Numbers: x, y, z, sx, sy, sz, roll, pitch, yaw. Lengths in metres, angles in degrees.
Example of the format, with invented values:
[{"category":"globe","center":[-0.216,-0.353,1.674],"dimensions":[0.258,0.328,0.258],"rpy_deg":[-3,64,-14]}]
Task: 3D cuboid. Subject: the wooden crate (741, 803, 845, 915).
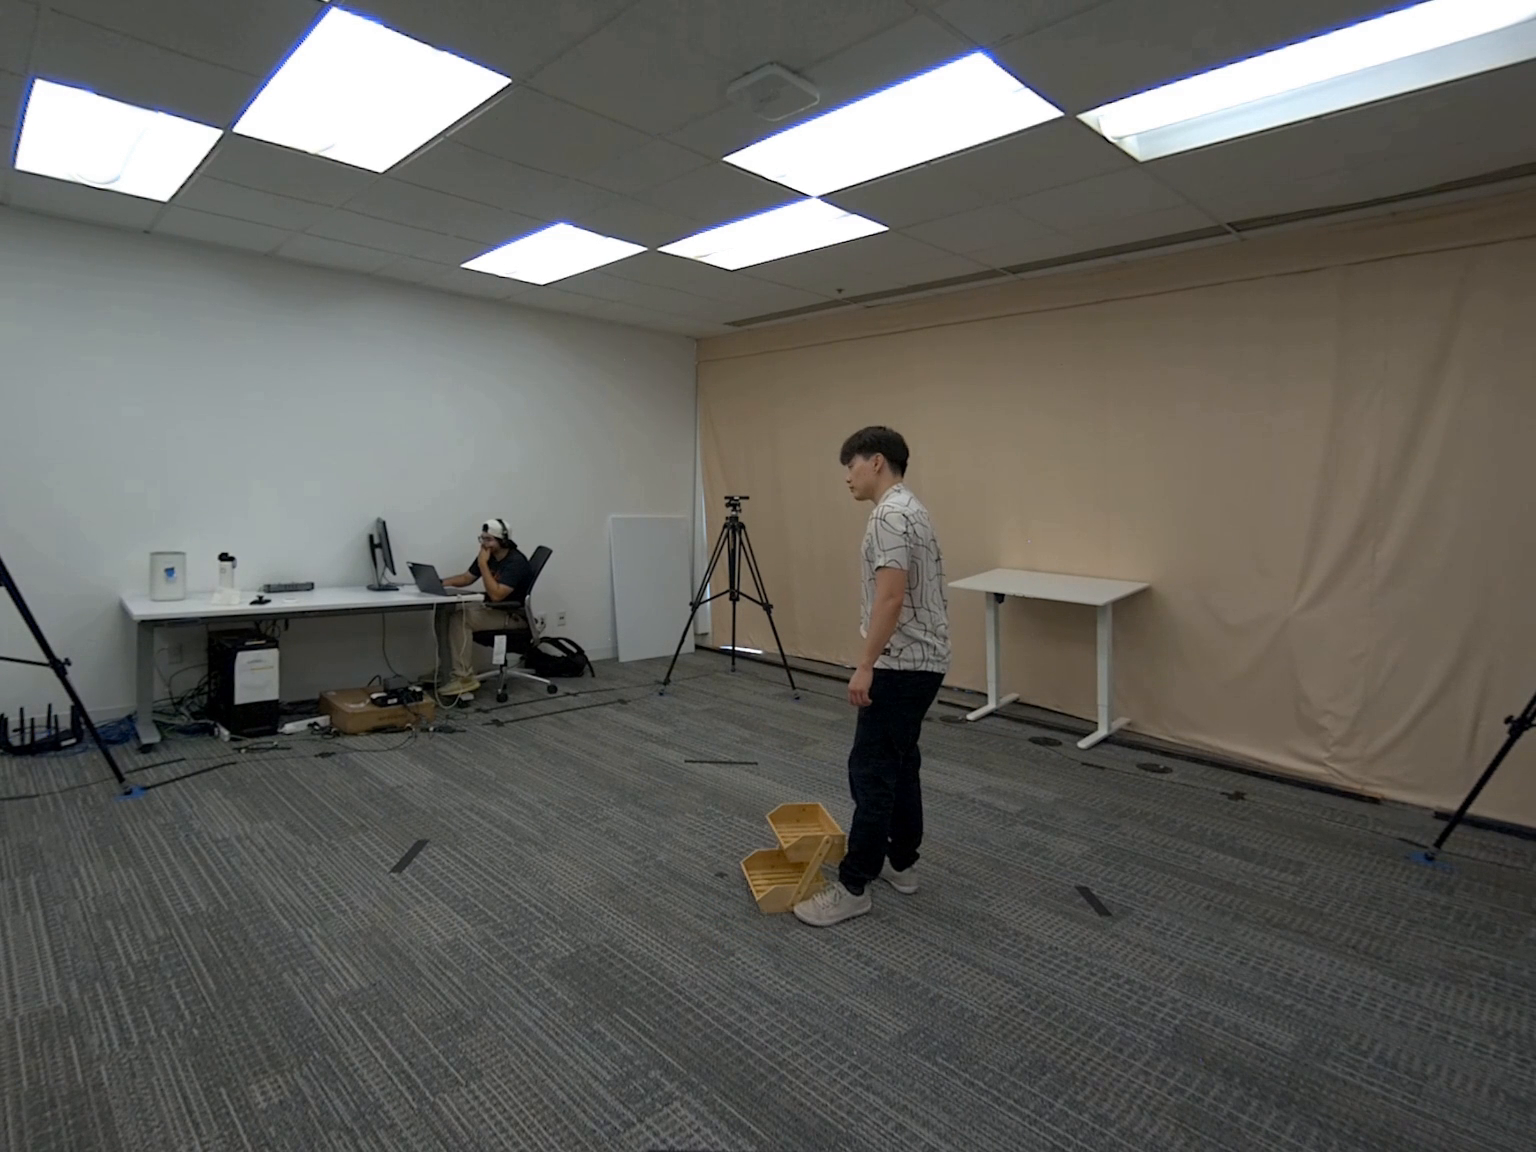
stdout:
[{"category":"wooden crate","center":[0.070,0.988,2.972],"dimensions":[0.299,0.272,0.328],"rpy_deg":[1,4,-11]}]
